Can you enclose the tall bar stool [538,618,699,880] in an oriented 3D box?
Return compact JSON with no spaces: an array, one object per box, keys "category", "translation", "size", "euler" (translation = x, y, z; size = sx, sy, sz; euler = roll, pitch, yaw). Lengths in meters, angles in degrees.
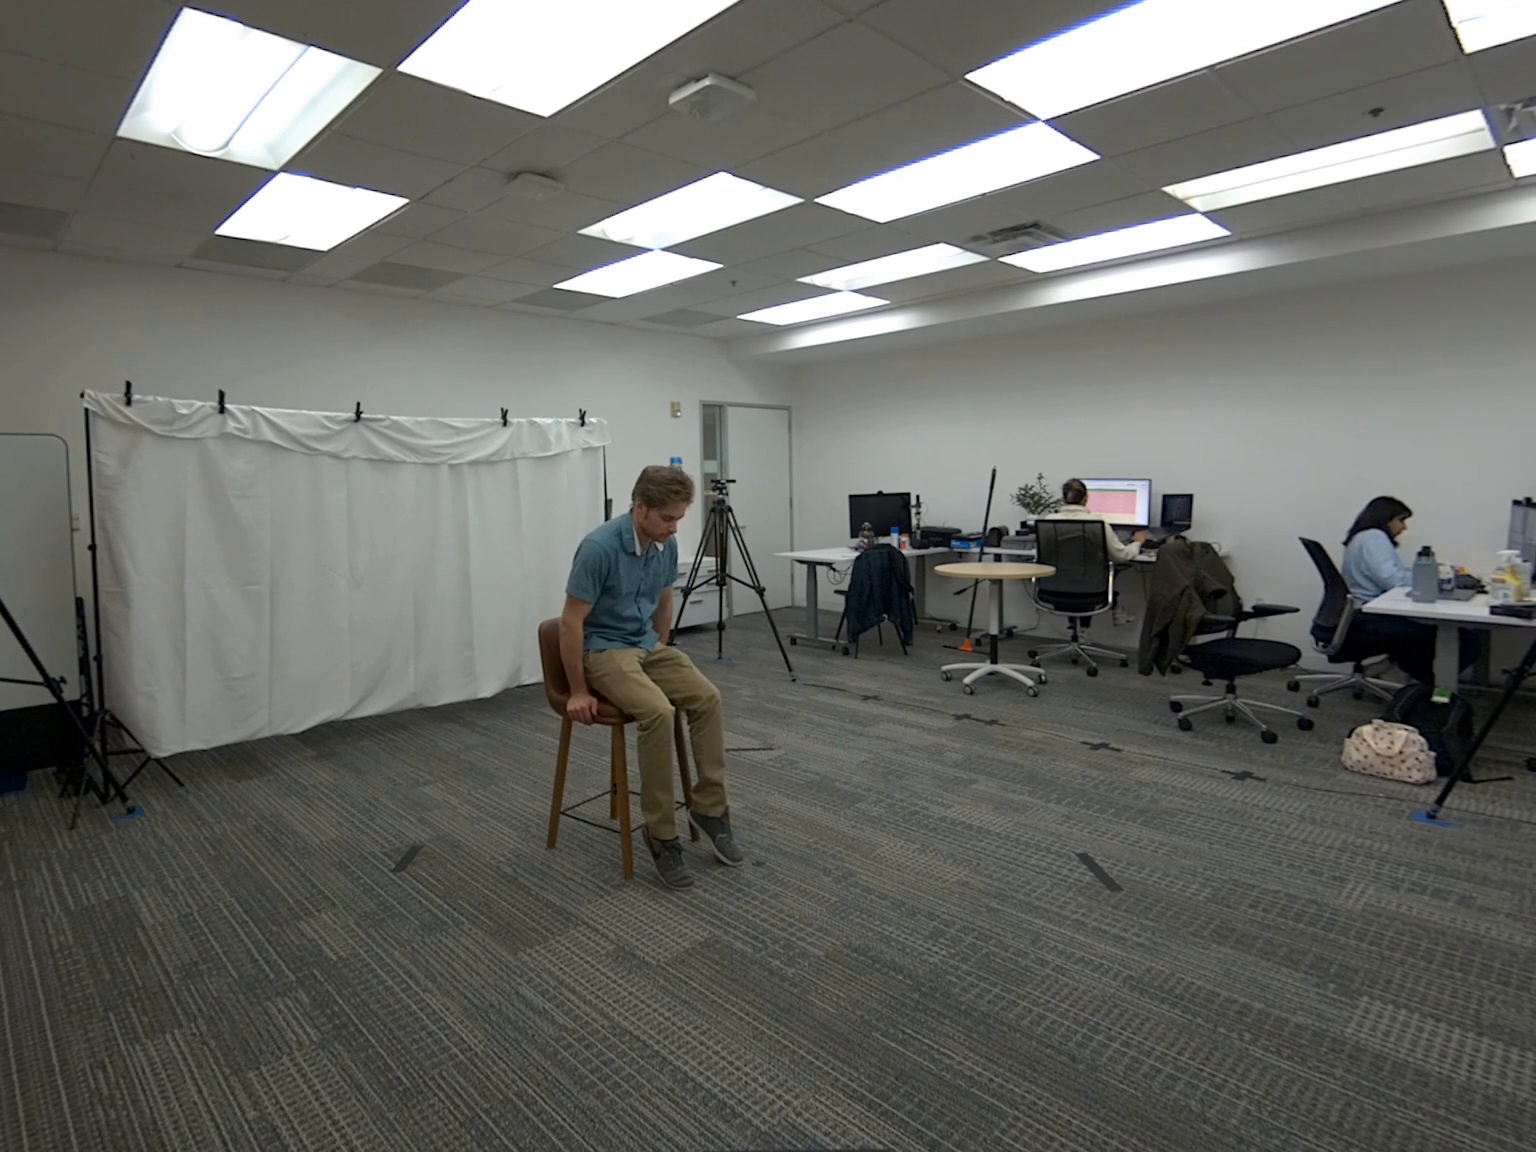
[{"category":"tall bar stool","translation":[-0.578,0.603,3.287],"size":[0.480,0.888,0.445],"euler":[-1,2,36]}]
